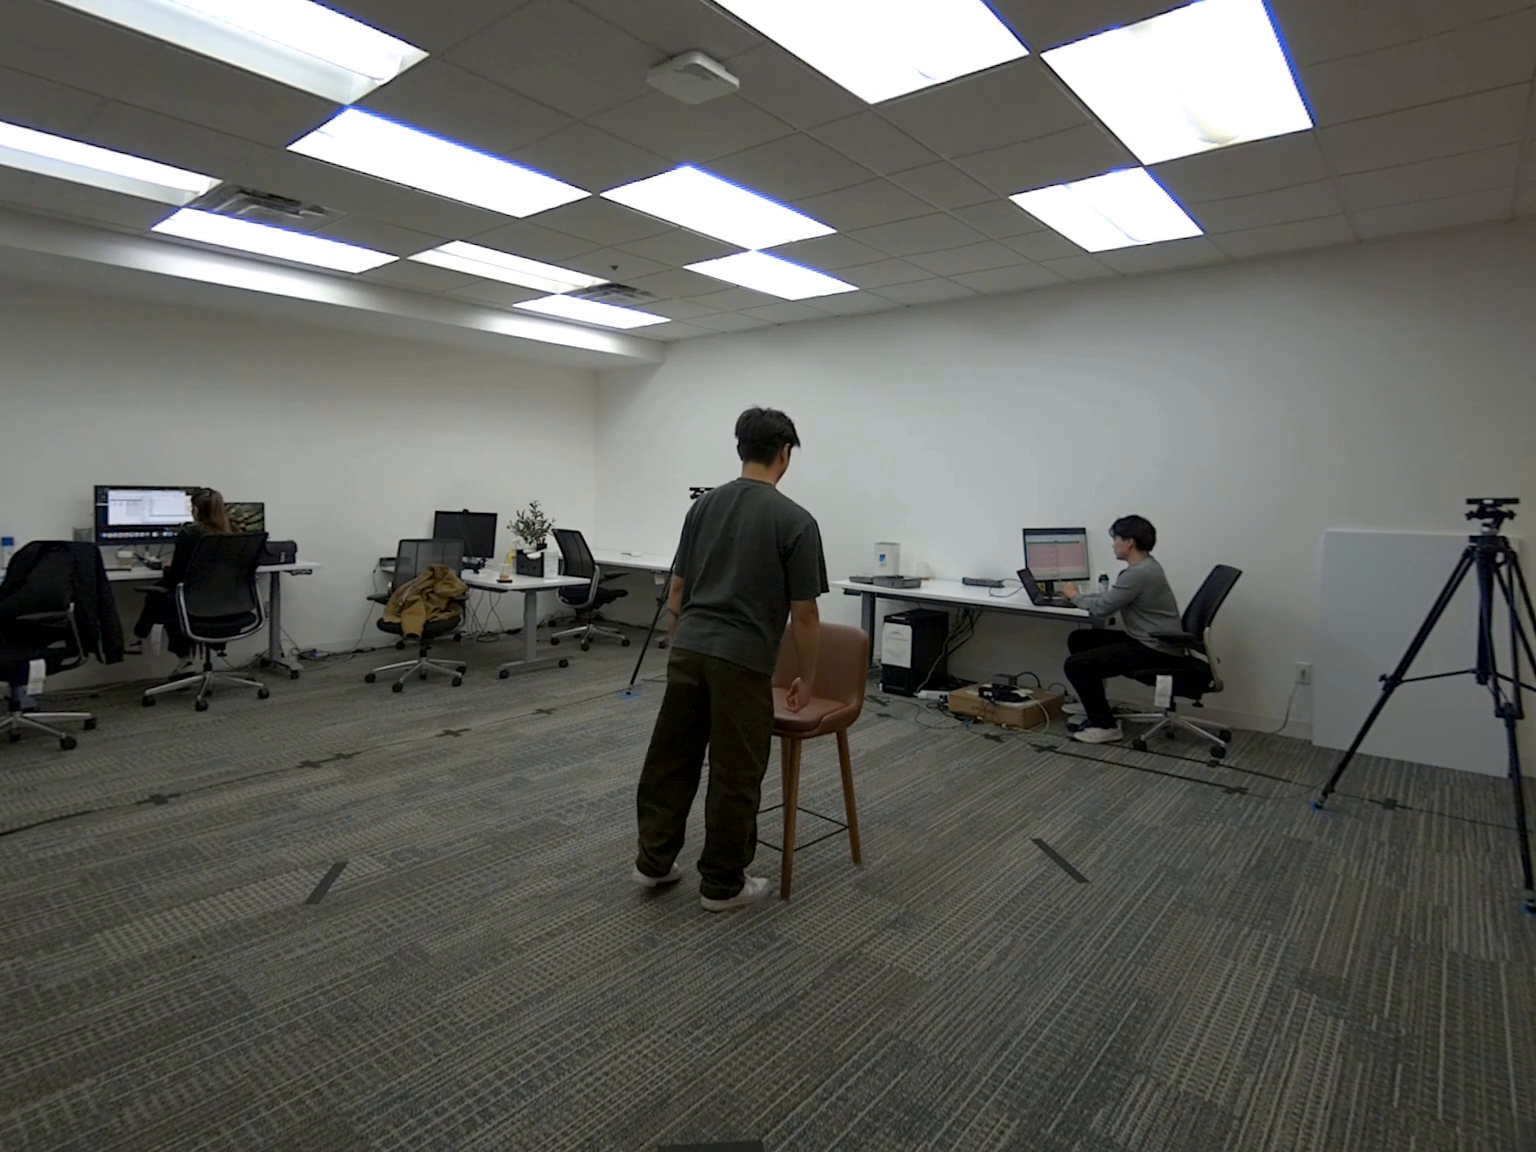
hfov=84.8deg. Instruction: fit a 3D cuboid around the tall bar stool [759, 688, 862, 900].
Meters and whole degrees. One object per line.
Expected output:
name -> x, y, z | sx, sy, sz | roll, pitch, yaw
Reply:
tall bar stool -> 0.071, 0.630, 3.155 | 0.453, 0.888, 0.472 | 1, 3, -45
